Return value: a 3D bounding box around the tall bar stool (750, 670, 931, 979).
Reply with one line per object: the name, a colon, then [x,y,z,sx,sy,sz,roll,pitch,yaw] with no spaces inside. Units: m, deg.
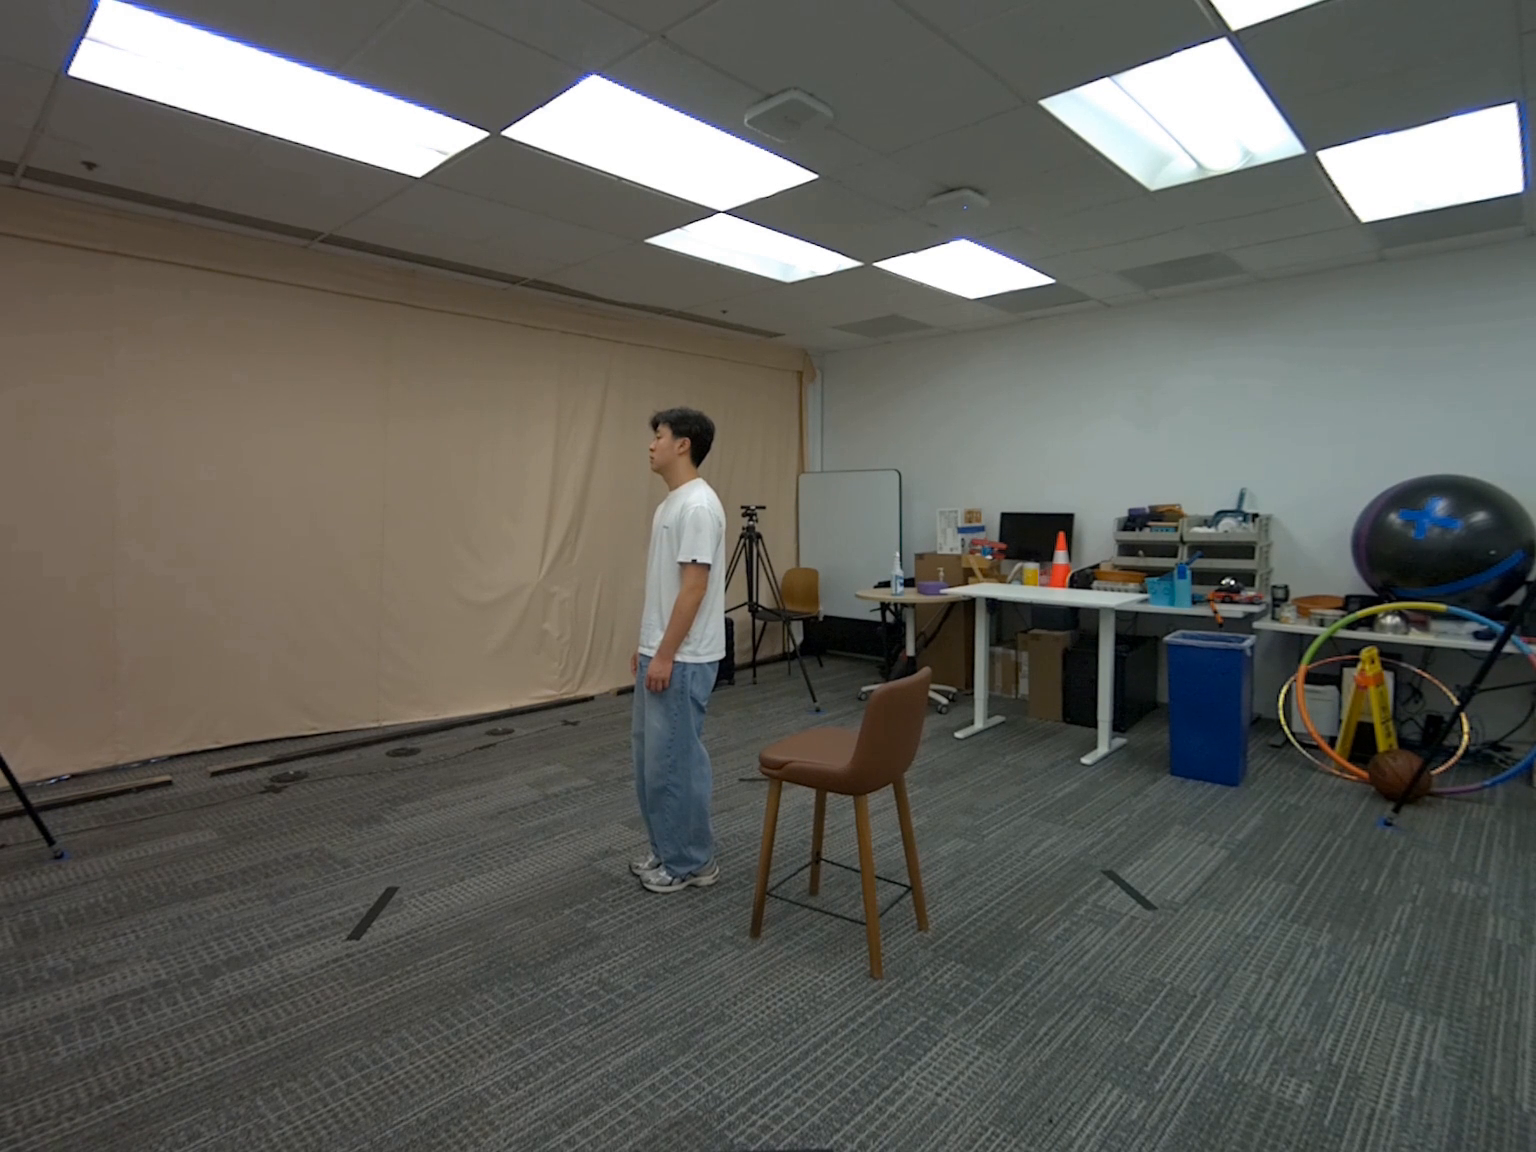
tall bar stool: [0.244,0.728,2.720,0.483,0.887,0.443,5,6,35]
